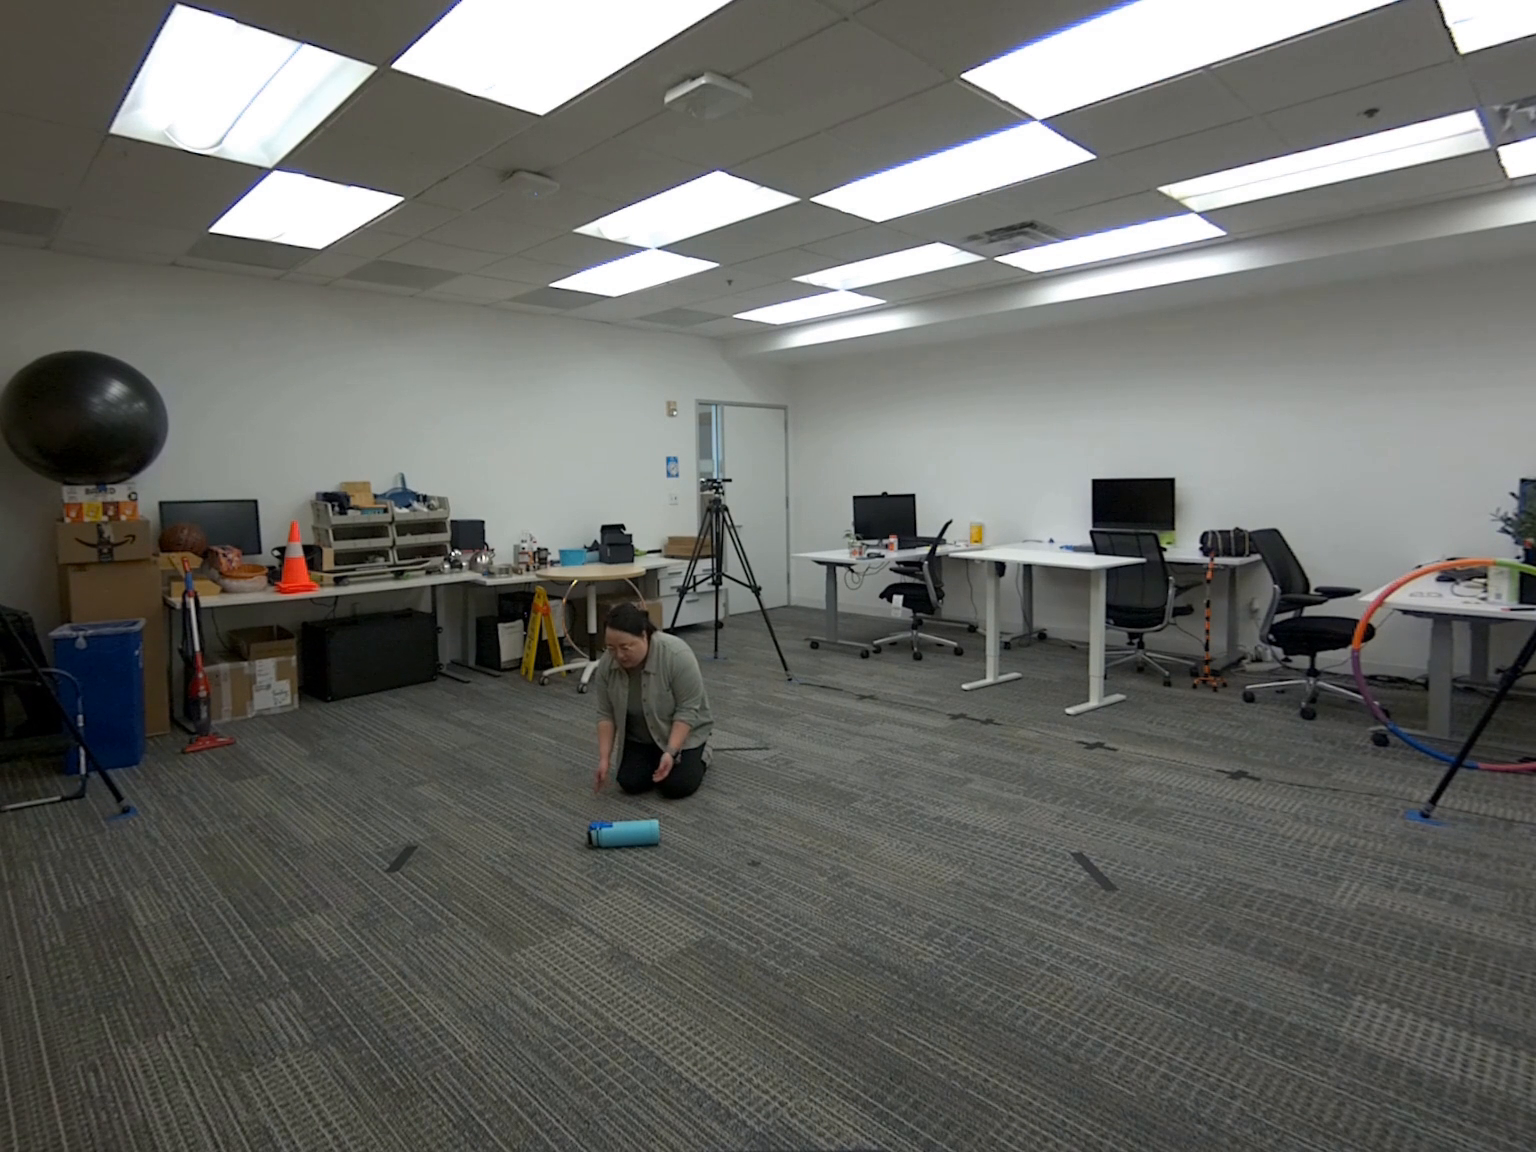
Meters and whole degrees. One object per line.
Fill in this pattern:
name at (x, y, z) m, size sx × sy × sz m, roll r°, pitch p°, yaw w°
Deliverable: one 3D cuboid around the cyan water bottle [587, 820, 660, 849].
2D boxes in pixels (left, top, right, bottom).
cyan water bottle at (-0.564, 0.991, 3.279) m, size 0.282 × 0.092 × 0.093 m, roll -2°, pitch 5°, yaw -5°
